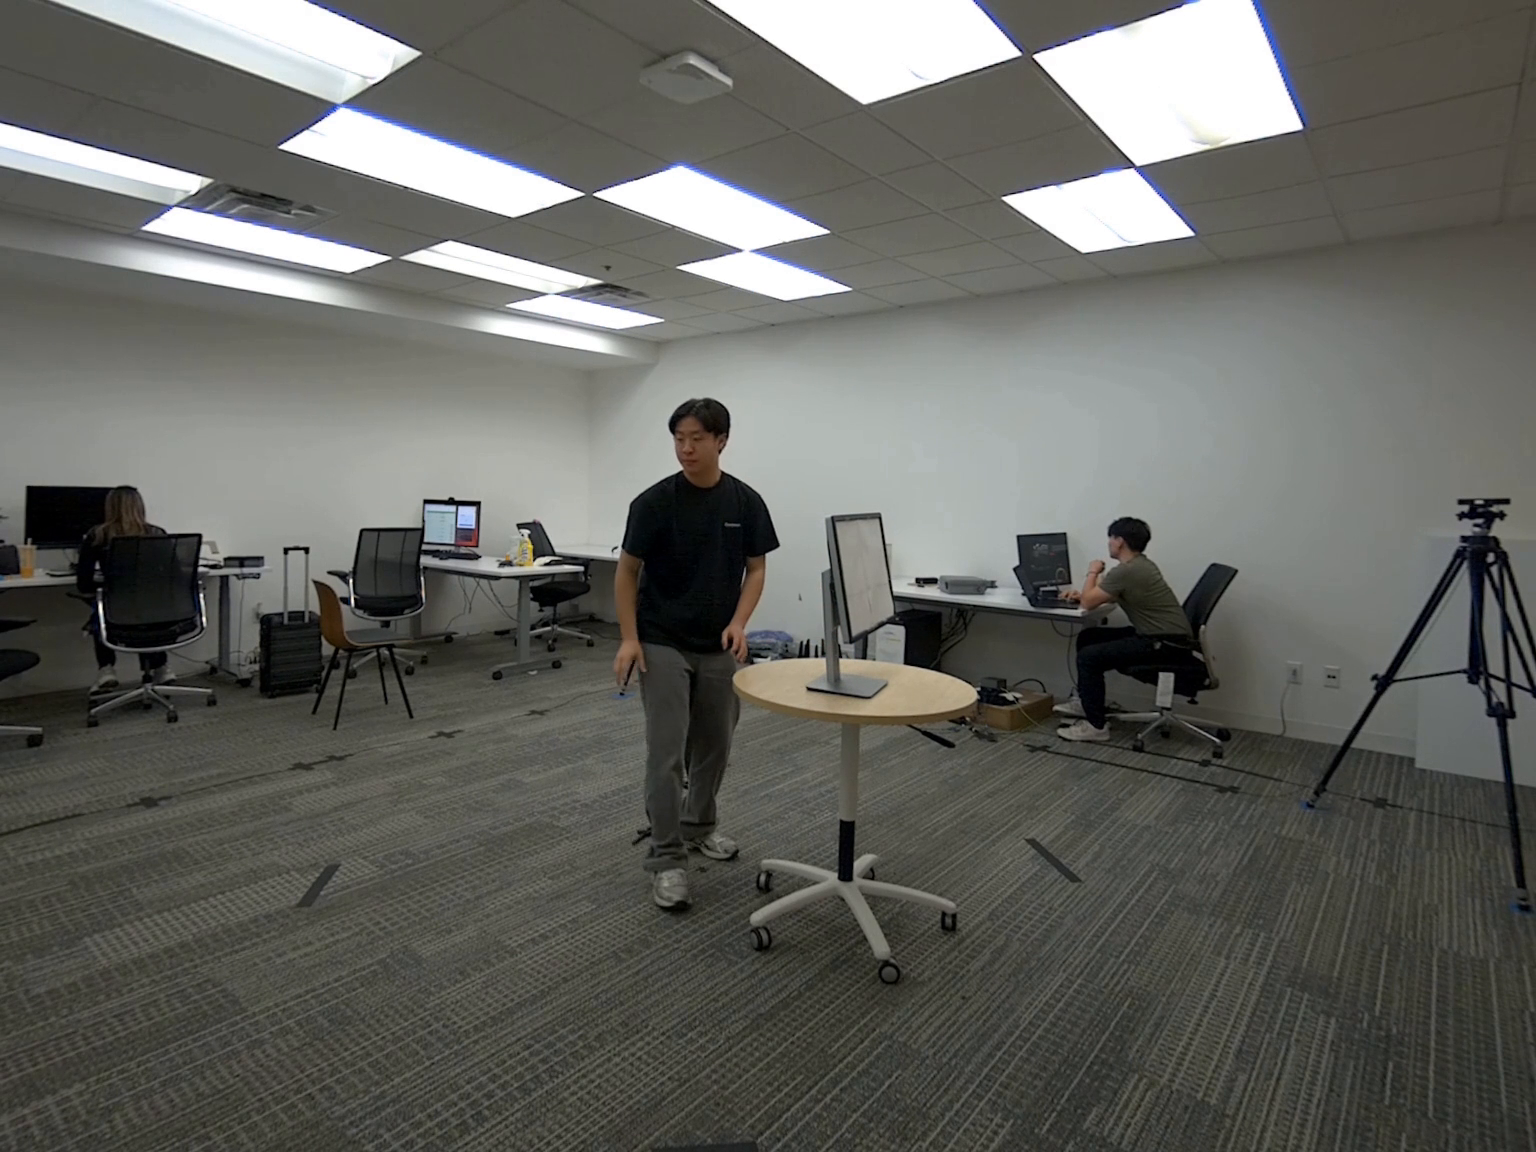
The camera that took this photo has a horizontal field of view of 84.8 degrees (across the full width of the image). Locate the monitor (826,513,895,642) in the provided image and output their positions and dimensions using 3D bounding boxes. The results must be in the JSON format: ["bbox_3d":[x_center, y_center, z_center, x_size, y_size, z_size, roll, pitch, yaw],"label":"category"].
[{"bbox_3d":[0.259,0.087,2.644,0.228,0.563,0.549,7,6,25],"label":"monitor"}]
